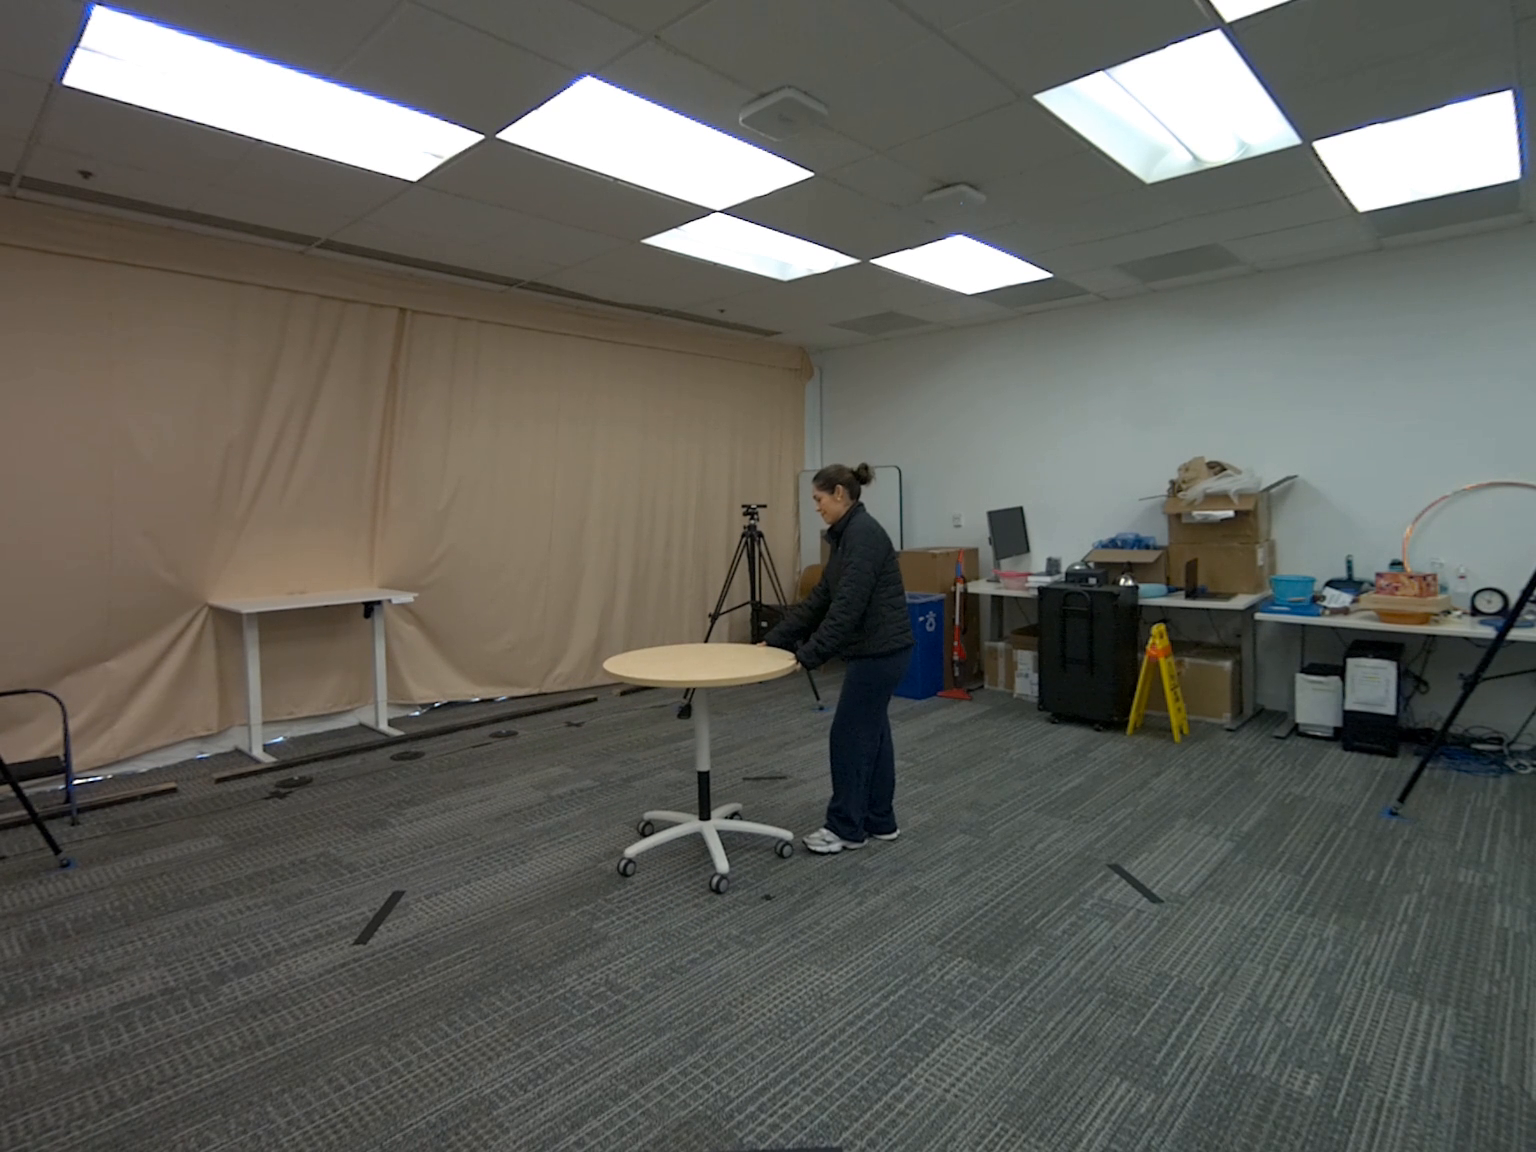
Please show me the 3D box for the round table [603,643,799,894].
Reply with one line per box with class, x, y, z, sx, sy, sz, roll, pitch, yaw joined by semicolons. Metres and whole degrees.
round table;-0.240;0.722;3.344;0.784;0.784;0.788;-2;4;-2
